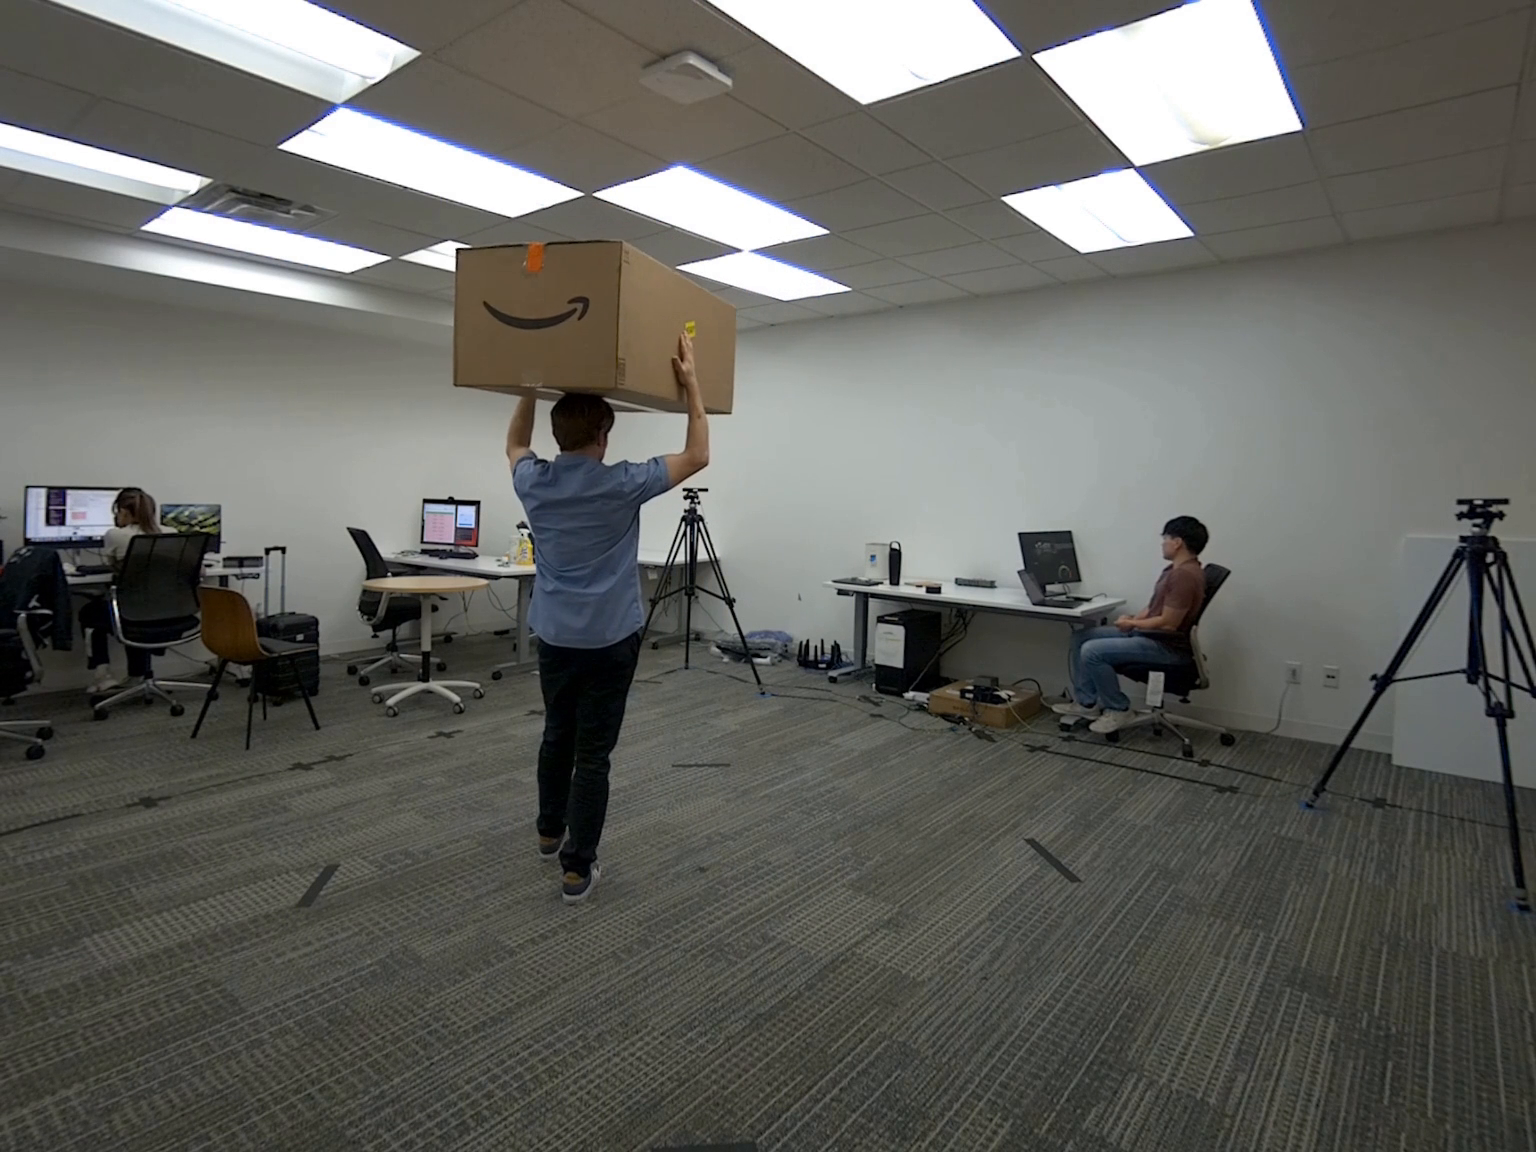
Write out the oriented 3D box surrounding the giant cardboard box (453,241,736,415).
[{"bbox_3d":[-0.563,-0.834,3.010,0.590,0.424,1.010,5,7,17],"label":"giant cardboard box"}]
